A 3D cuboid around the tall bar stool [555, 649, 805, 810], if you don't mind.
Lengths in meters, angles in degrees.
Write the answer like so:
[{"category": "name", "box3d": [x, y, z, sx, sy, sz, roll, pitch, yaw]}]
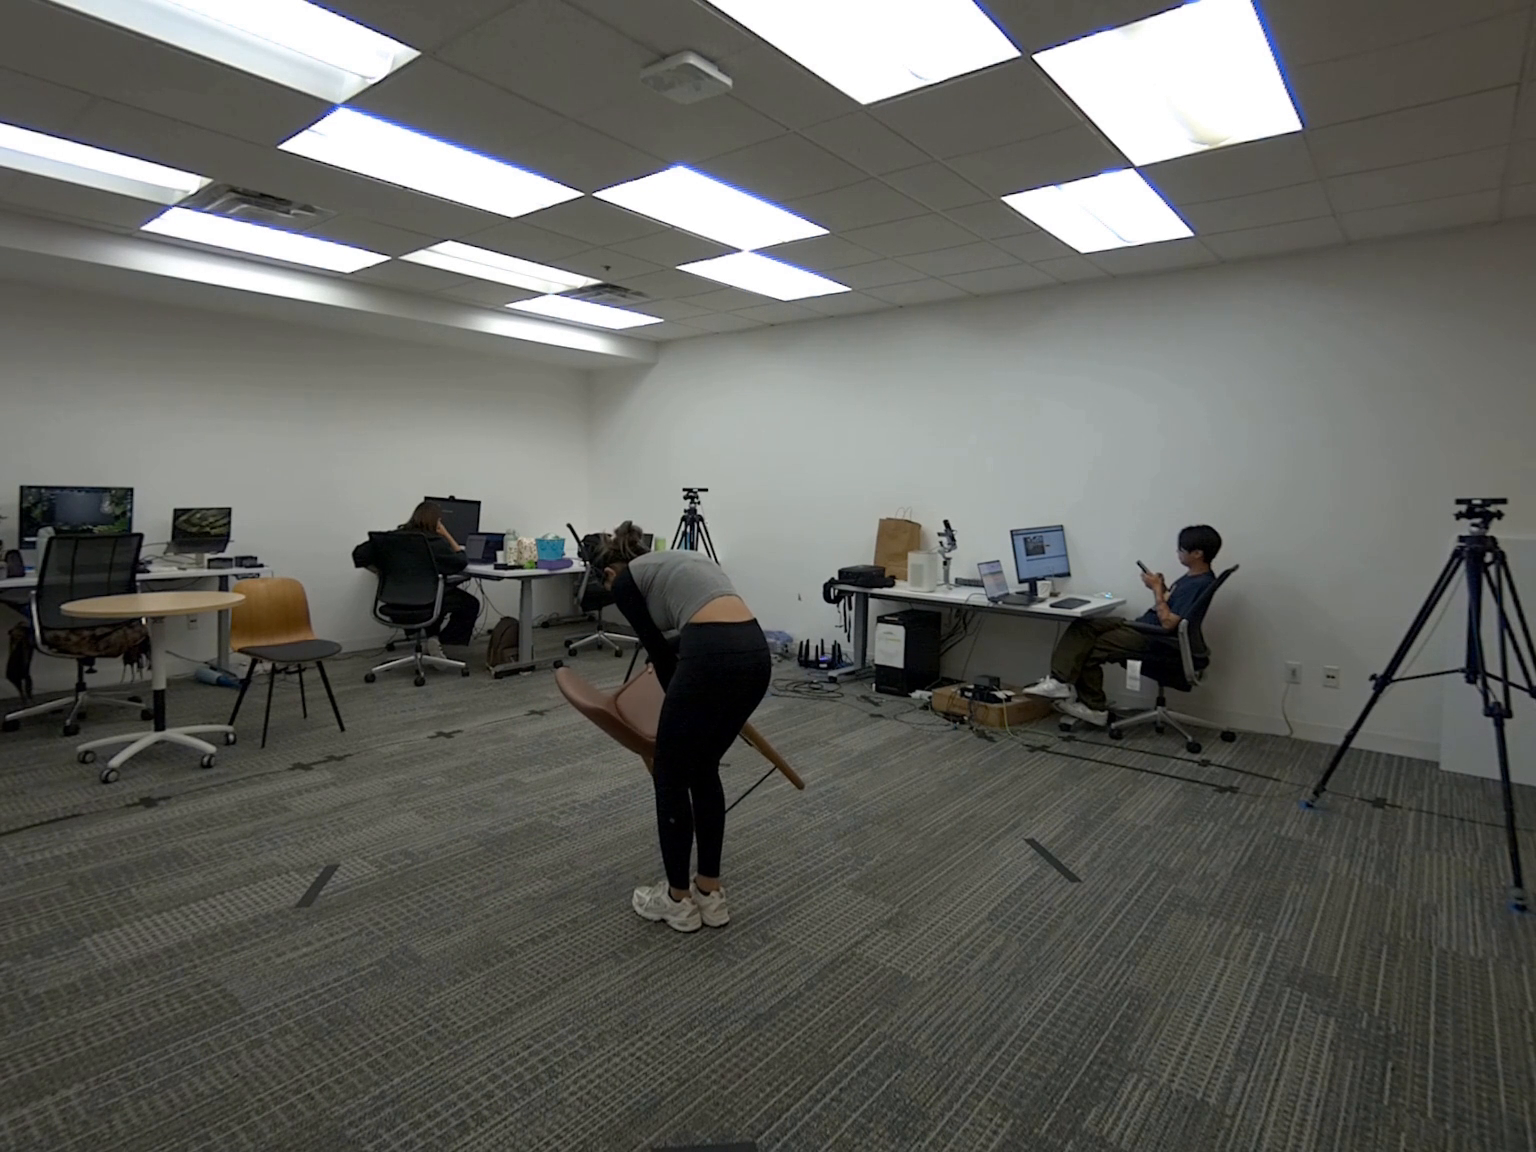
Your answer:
[{"category": "tall bar stool", "box3d": [-0.334, 0.572, 3.163, 0.466, 0.861, 0.473, -40, 28, -15]}]
